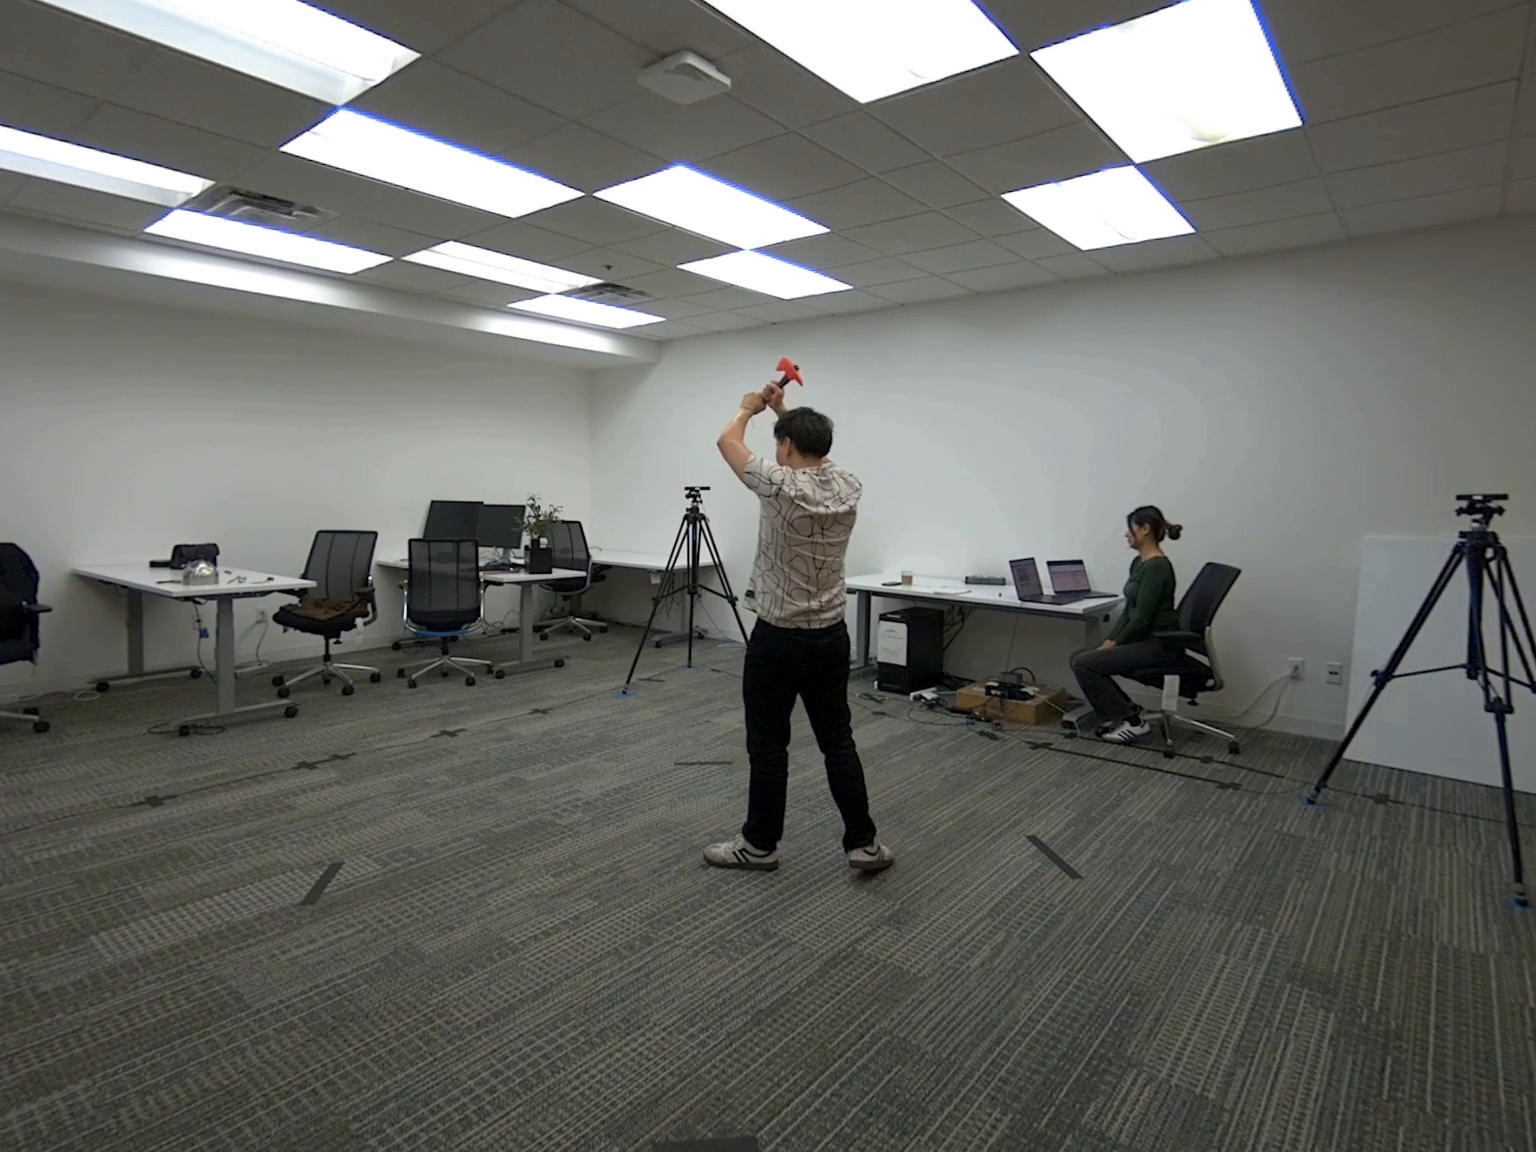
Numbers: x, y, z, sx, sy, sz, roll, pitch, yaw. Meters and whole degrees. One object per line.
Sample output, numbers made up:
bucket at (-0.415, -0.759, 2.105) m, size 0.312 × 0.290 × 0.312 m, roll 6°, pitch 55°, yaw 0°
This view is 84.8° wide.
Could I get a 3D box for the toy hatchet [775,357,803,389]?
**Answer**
toy hatchet at (0.006, -0.742, 3.244) m, size 0.276 × 0.131 × 0.029 m, roll -16°, pitch 4°, yaw 40°
